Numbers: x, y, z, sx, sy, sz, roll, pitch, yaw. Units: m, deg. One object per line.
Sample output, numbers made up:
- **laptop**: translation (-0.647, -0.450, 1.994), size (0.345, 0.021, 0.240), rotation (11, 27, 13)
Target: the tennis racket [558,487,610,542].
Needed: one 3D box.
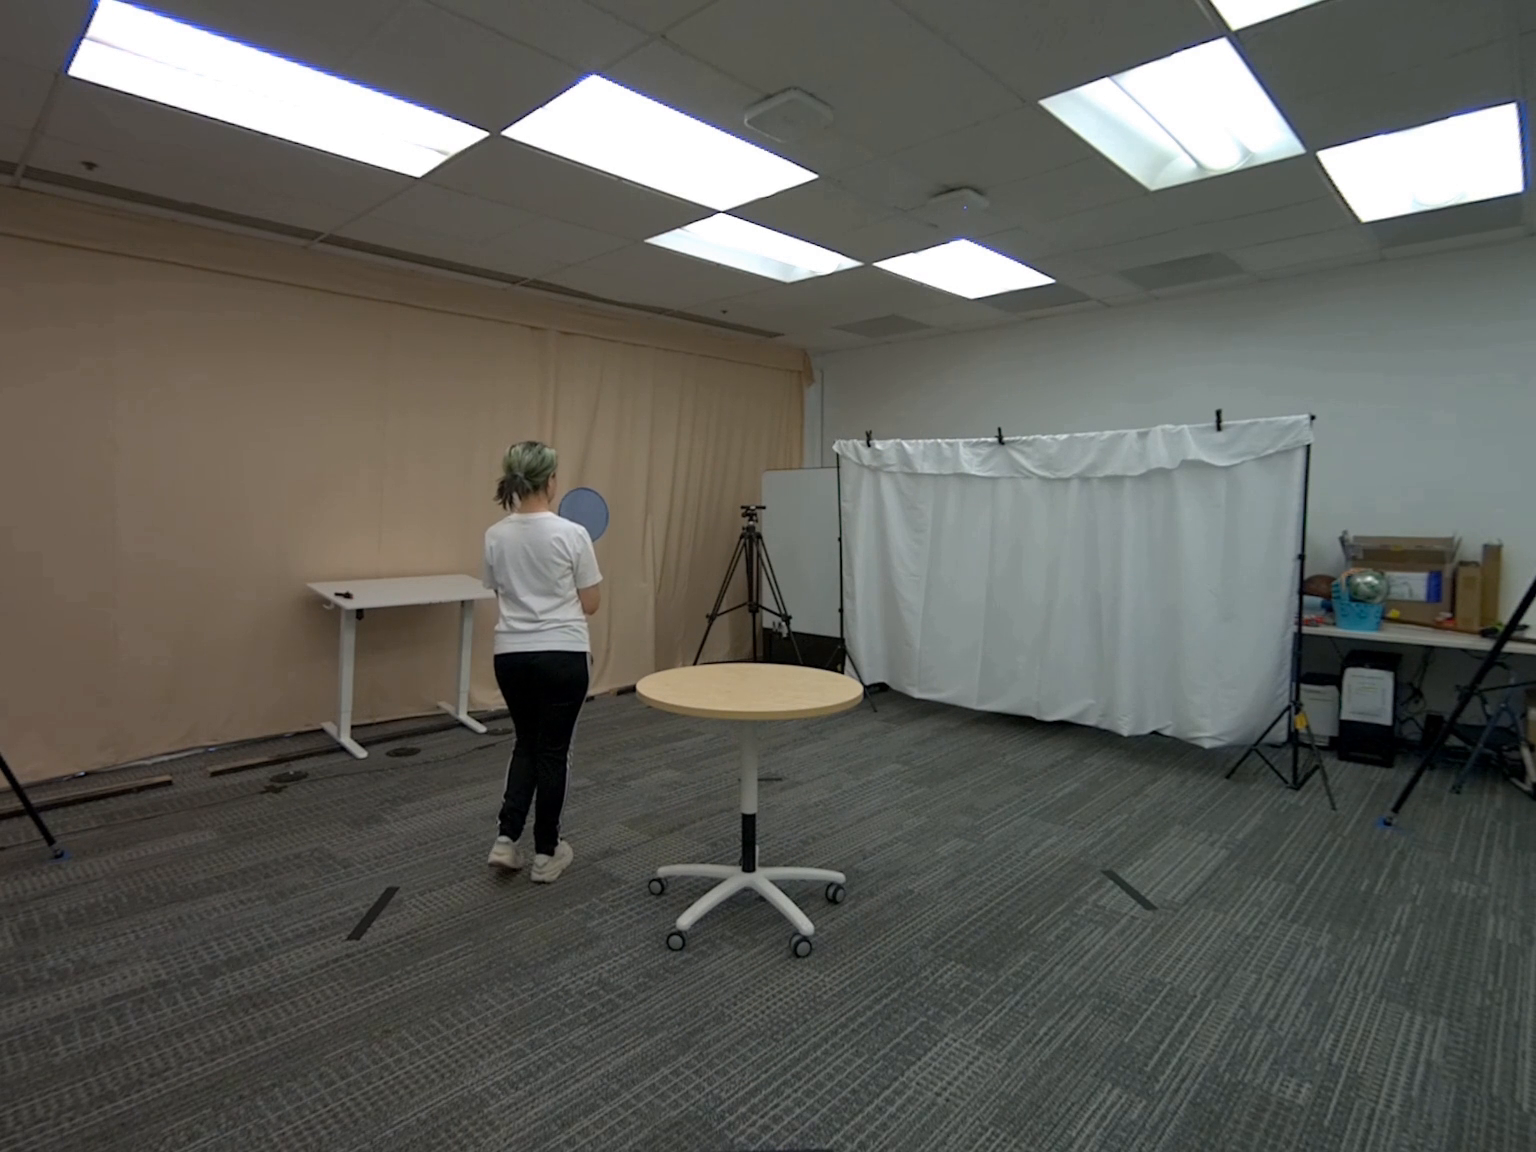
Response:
- **tennis racket**: translation (-0.776, -0.180, 3.503), size (0.211, 0.438, 0.032), rotation (11, -27, -10)
